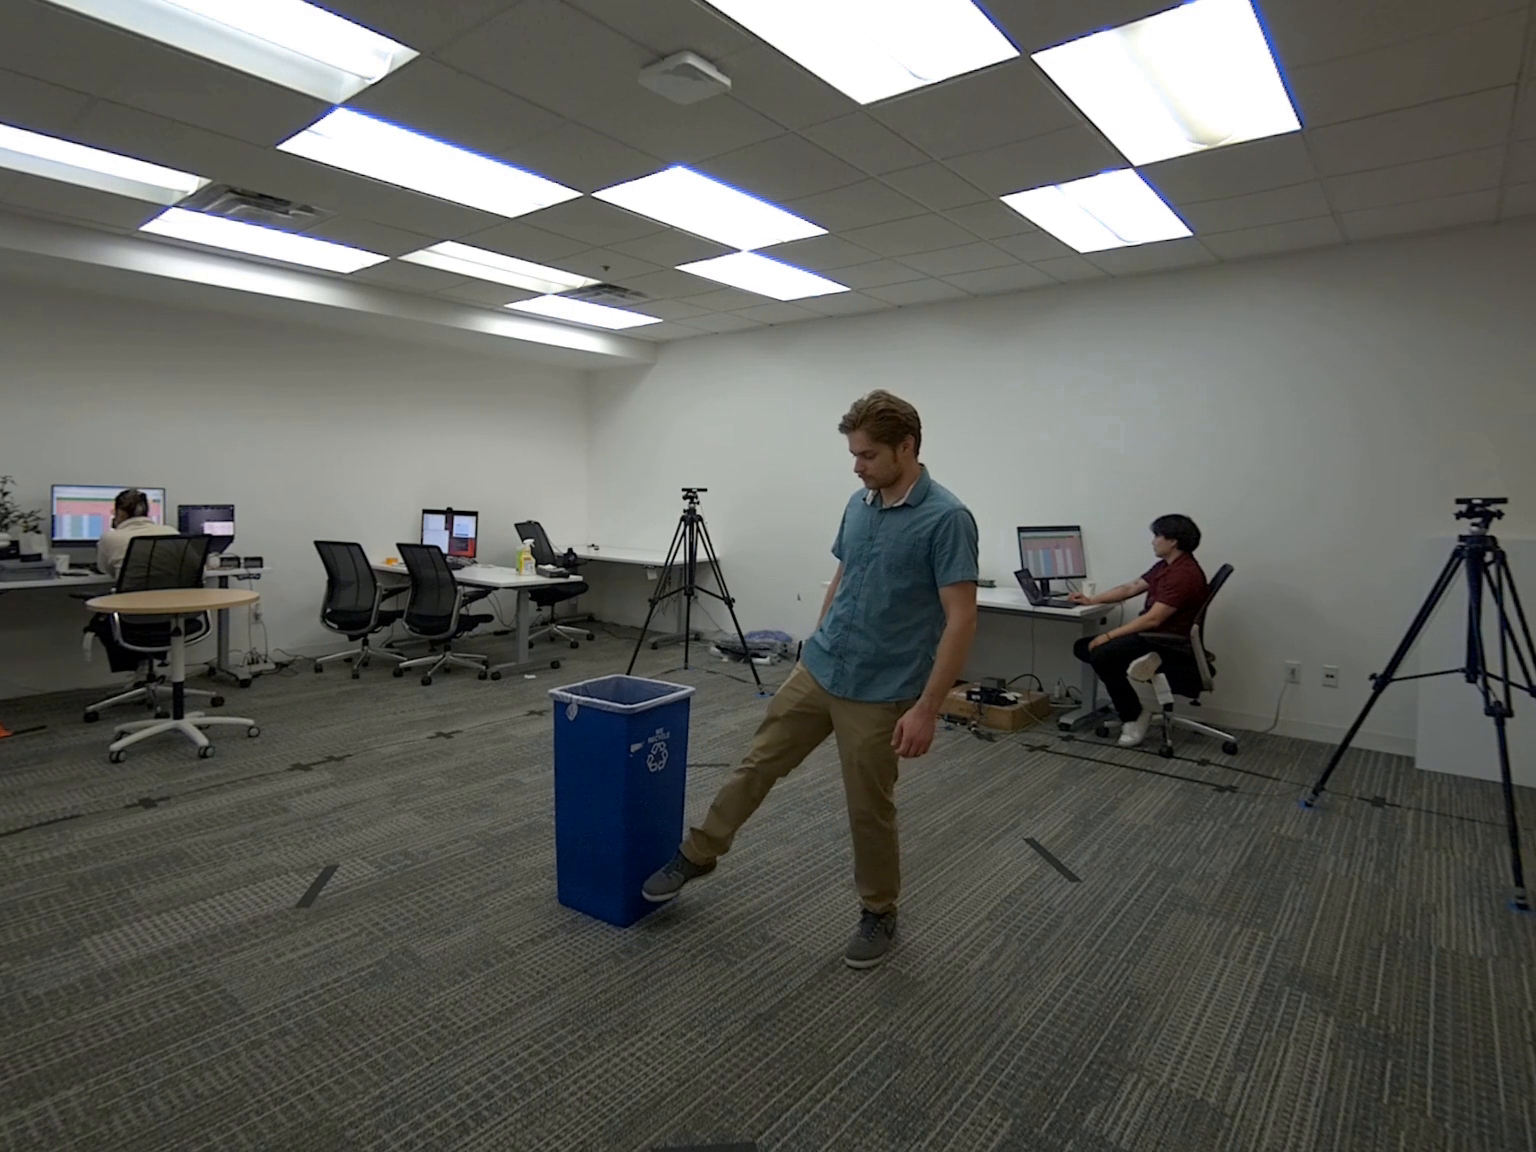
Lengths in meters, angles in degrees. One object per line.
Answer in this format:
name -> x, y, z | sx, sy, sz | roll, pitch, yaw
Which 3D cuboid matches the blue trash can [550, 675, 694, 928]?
blue trash can -> -0.504, 0.729, 2.871 | 0.390, 0.712, 0.364 | 3, 4, 32
